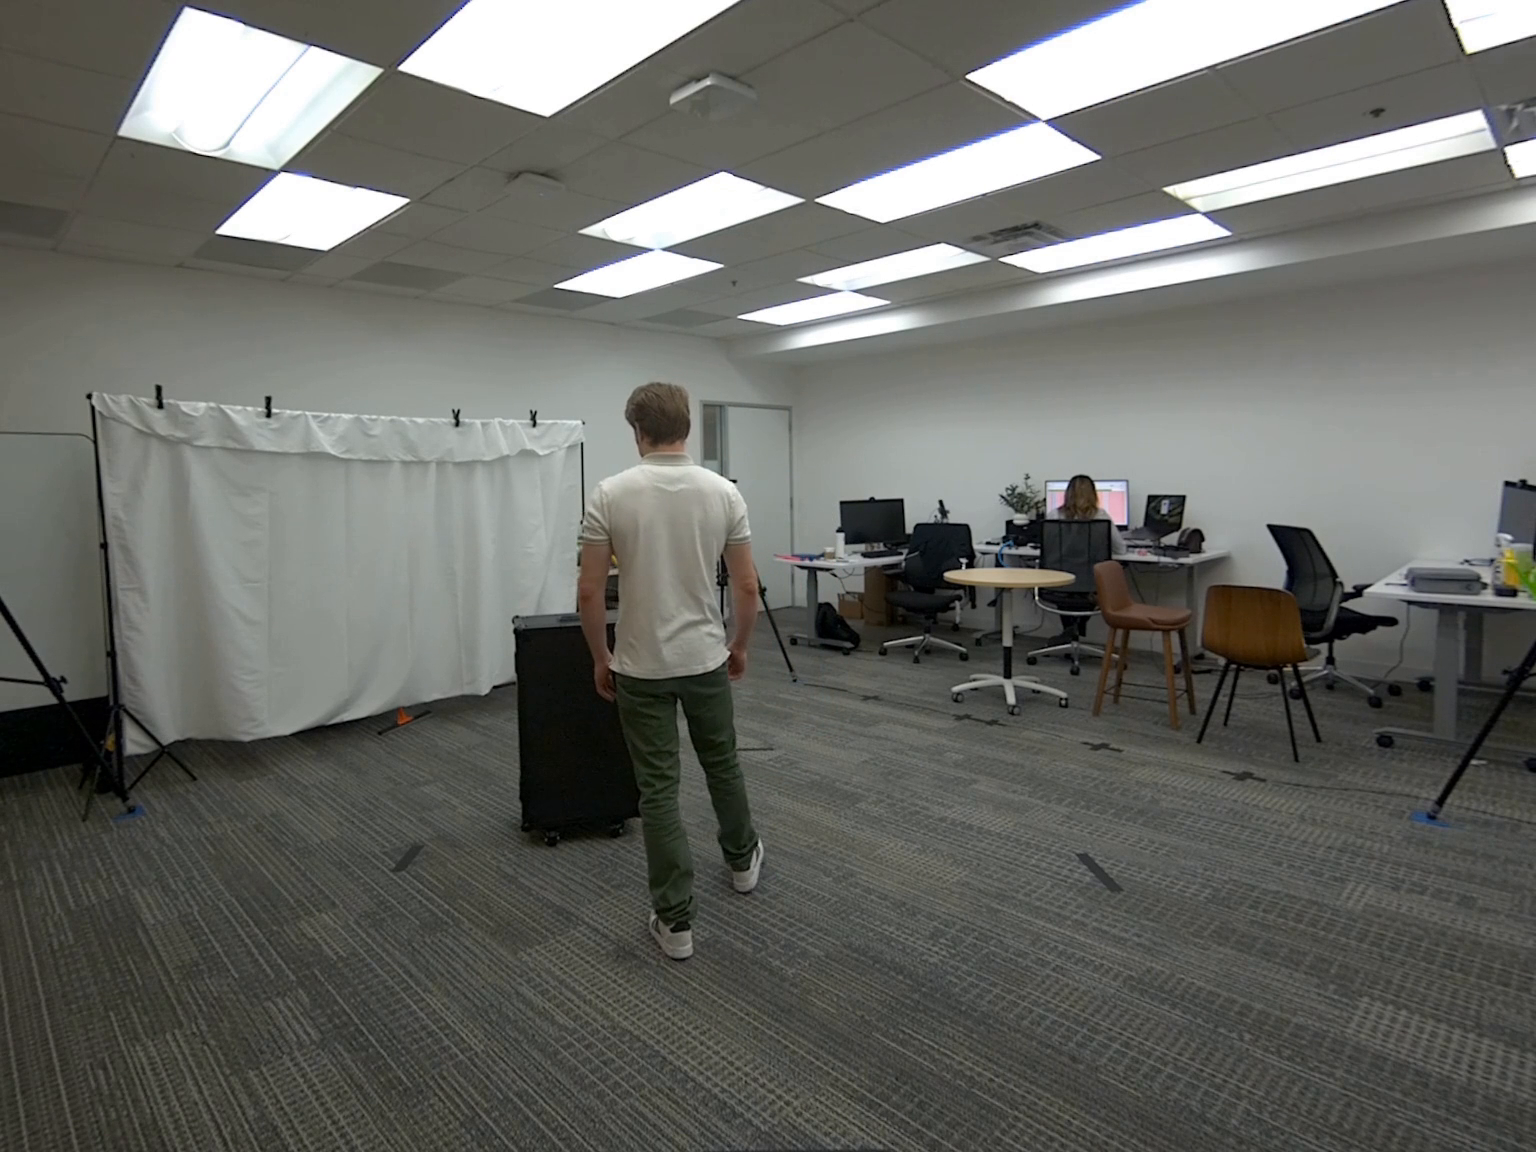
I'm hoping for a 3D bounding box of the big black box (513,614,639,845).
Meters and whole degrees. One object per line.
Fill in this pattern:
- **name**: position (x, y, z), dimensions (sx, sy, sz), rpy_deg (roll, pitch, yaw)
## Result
- **big black box**: position (-0.776, 0.600, 3.478), dimensions (0.516, 0.866, 0.391), rpy_deg (-3, 3, -15)
